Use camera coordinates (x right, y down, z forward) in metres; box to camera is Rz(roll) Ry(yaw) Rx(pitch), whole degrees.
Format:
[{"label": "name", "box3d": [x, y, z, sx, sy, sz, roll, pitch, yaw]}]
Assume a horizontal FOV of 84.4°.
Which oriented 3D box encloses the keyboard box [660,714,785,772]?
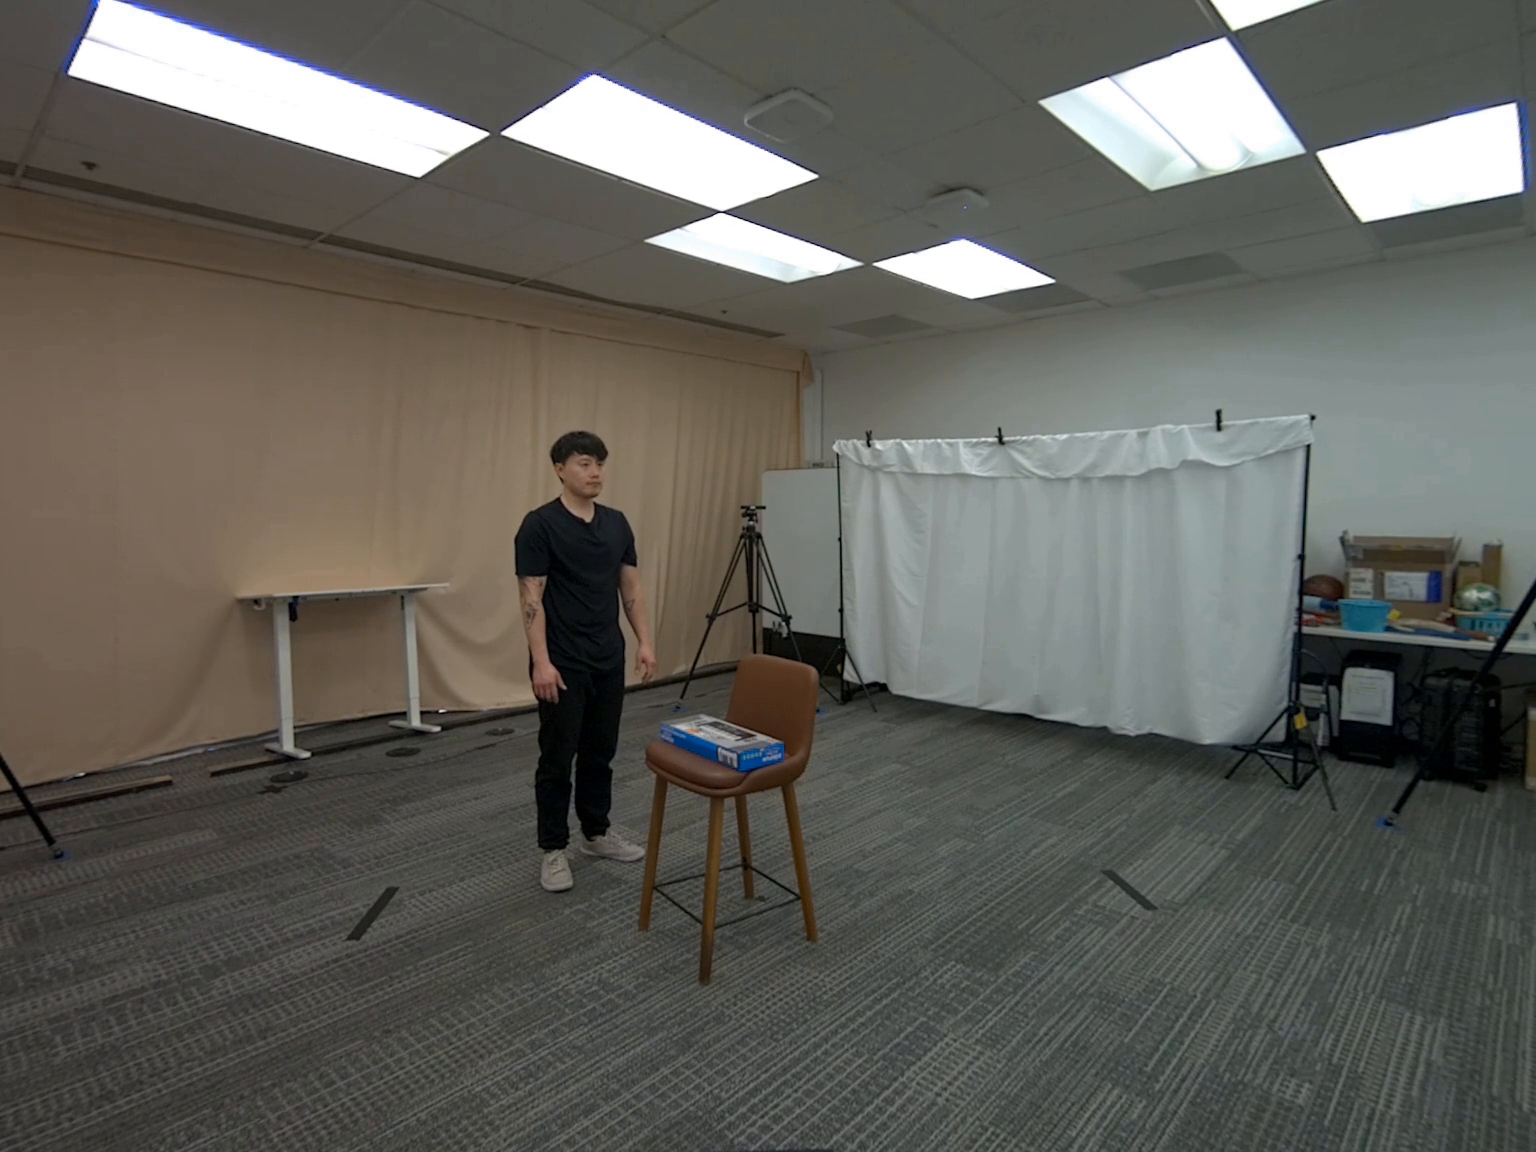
[{"label": "keyboard box", "box3d": [-0.156, 0.528, 2.681, 0.171, 0.059, 0.451, -5, 7, -37]}]
